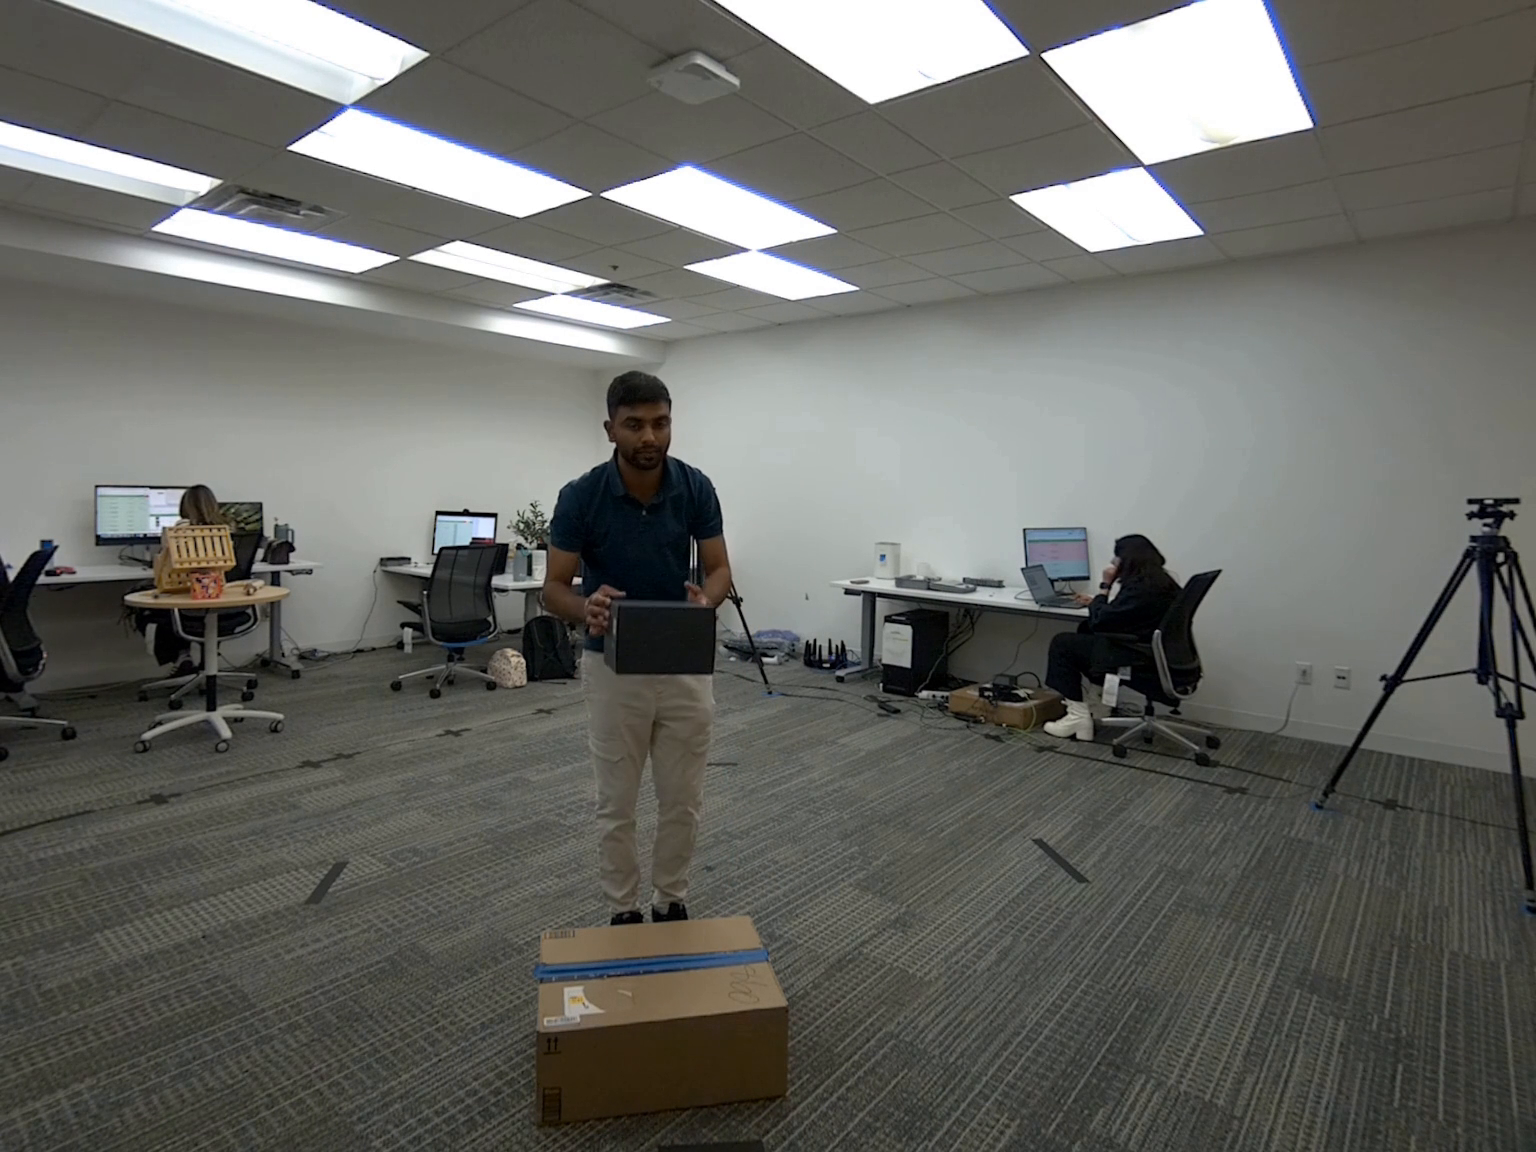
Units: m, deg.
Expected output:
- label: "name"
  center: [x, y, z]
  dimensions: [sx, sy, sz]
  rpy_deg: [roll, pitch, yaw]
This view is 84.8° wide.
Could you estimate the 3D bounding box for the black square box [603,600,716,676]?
- label: "black square box"
  center: [-0.261, 0.142, 2.022]
  dimensions: [0.224, 0.156, 0.221]
  rpy_deg: [3, 1, -16]
